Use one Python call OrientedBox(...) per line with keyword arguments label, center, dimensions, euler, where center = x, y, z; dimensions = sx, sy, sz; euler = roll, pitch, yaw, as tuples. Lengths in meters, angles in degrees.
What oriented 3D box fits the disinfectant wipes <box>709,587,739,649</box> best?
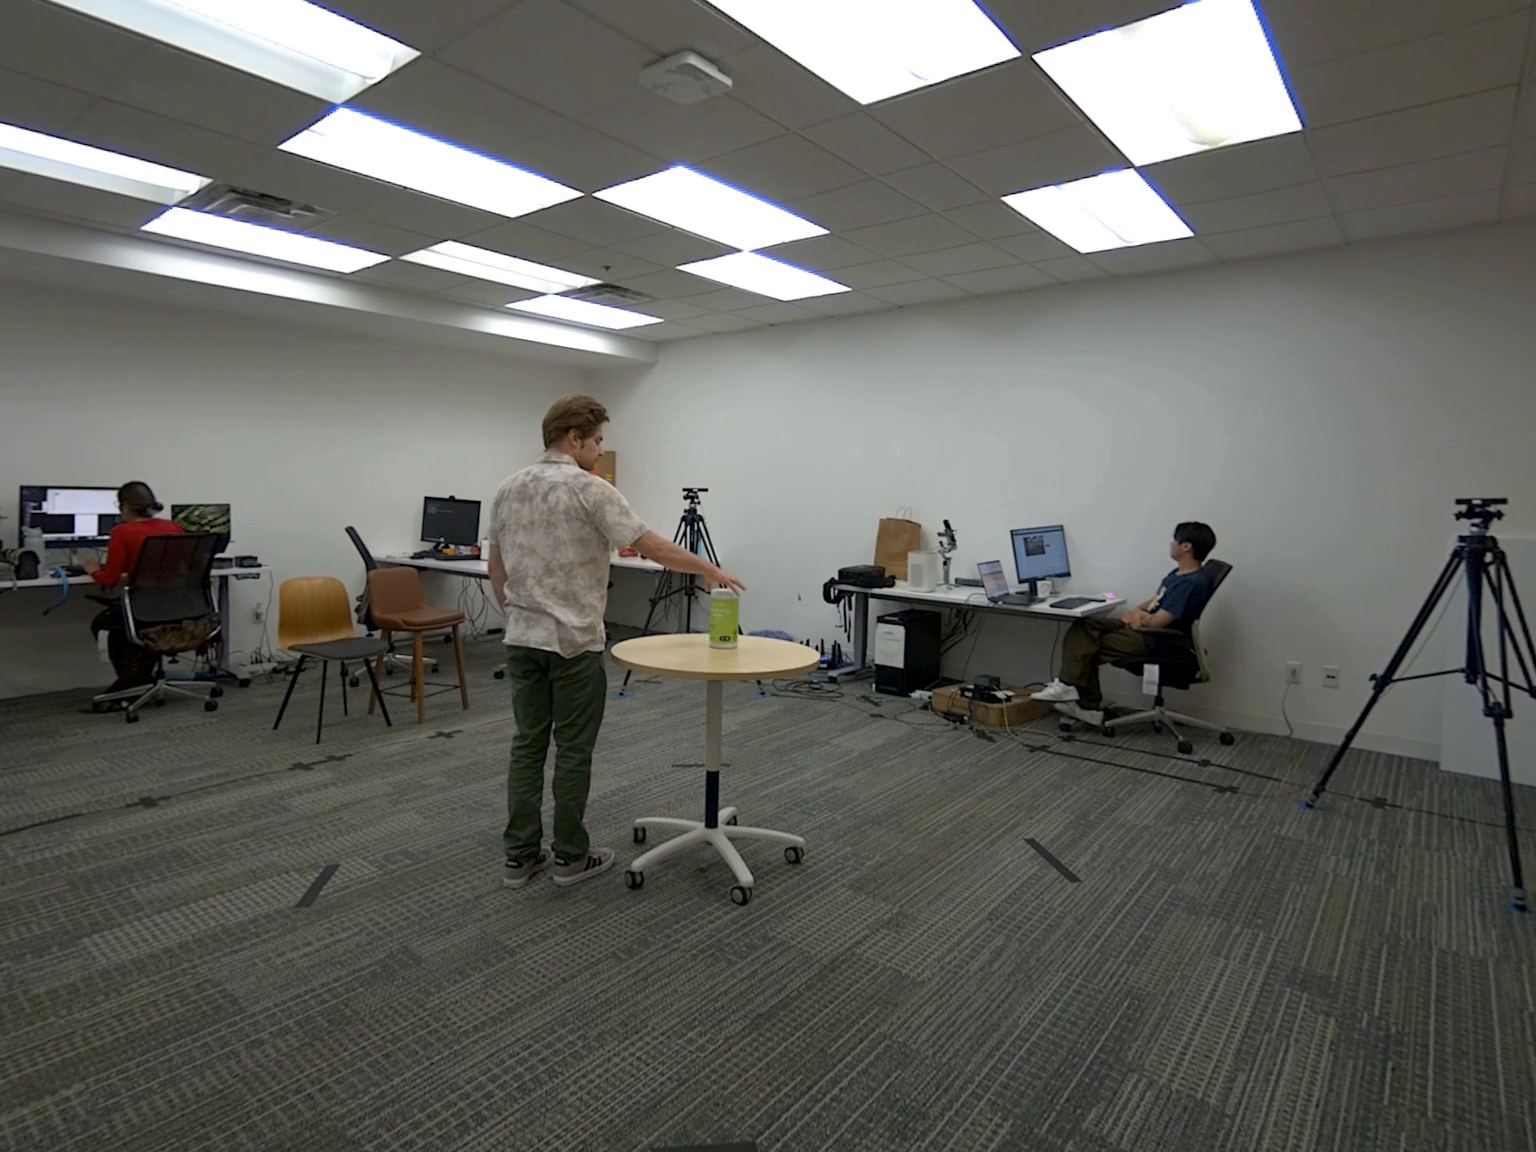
OrientedBox(label="disinfectant wipes", center=(-0.182, 0.162, 3.213), dimensions=(0.118, 0.217, 0.118), euler=(0, 4, -2))
